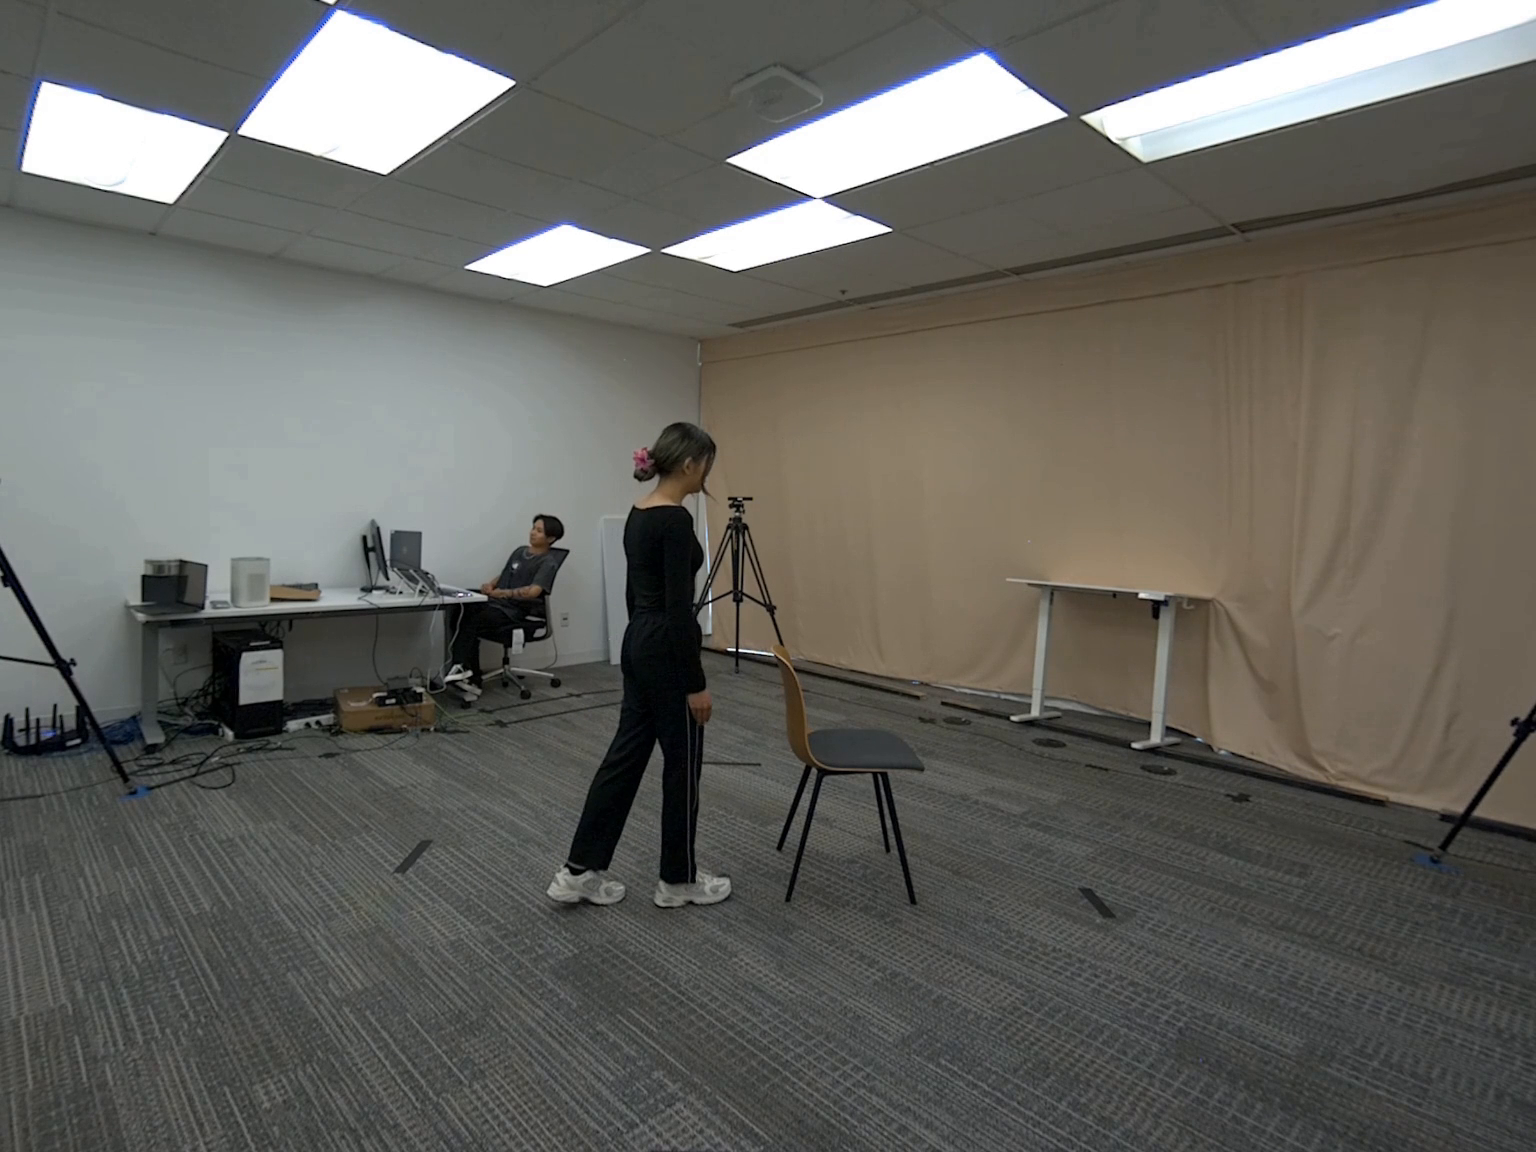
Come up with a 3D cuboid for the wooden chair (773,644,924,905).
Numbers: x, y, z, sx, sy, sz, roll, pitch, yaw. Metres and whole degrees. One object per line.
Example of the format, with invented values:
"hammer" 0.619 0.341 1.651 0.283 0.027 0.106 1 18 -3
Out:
"wooden chair" 0.286 0.690 3.108 0.522 0.875 0.480 -3 3 -2
